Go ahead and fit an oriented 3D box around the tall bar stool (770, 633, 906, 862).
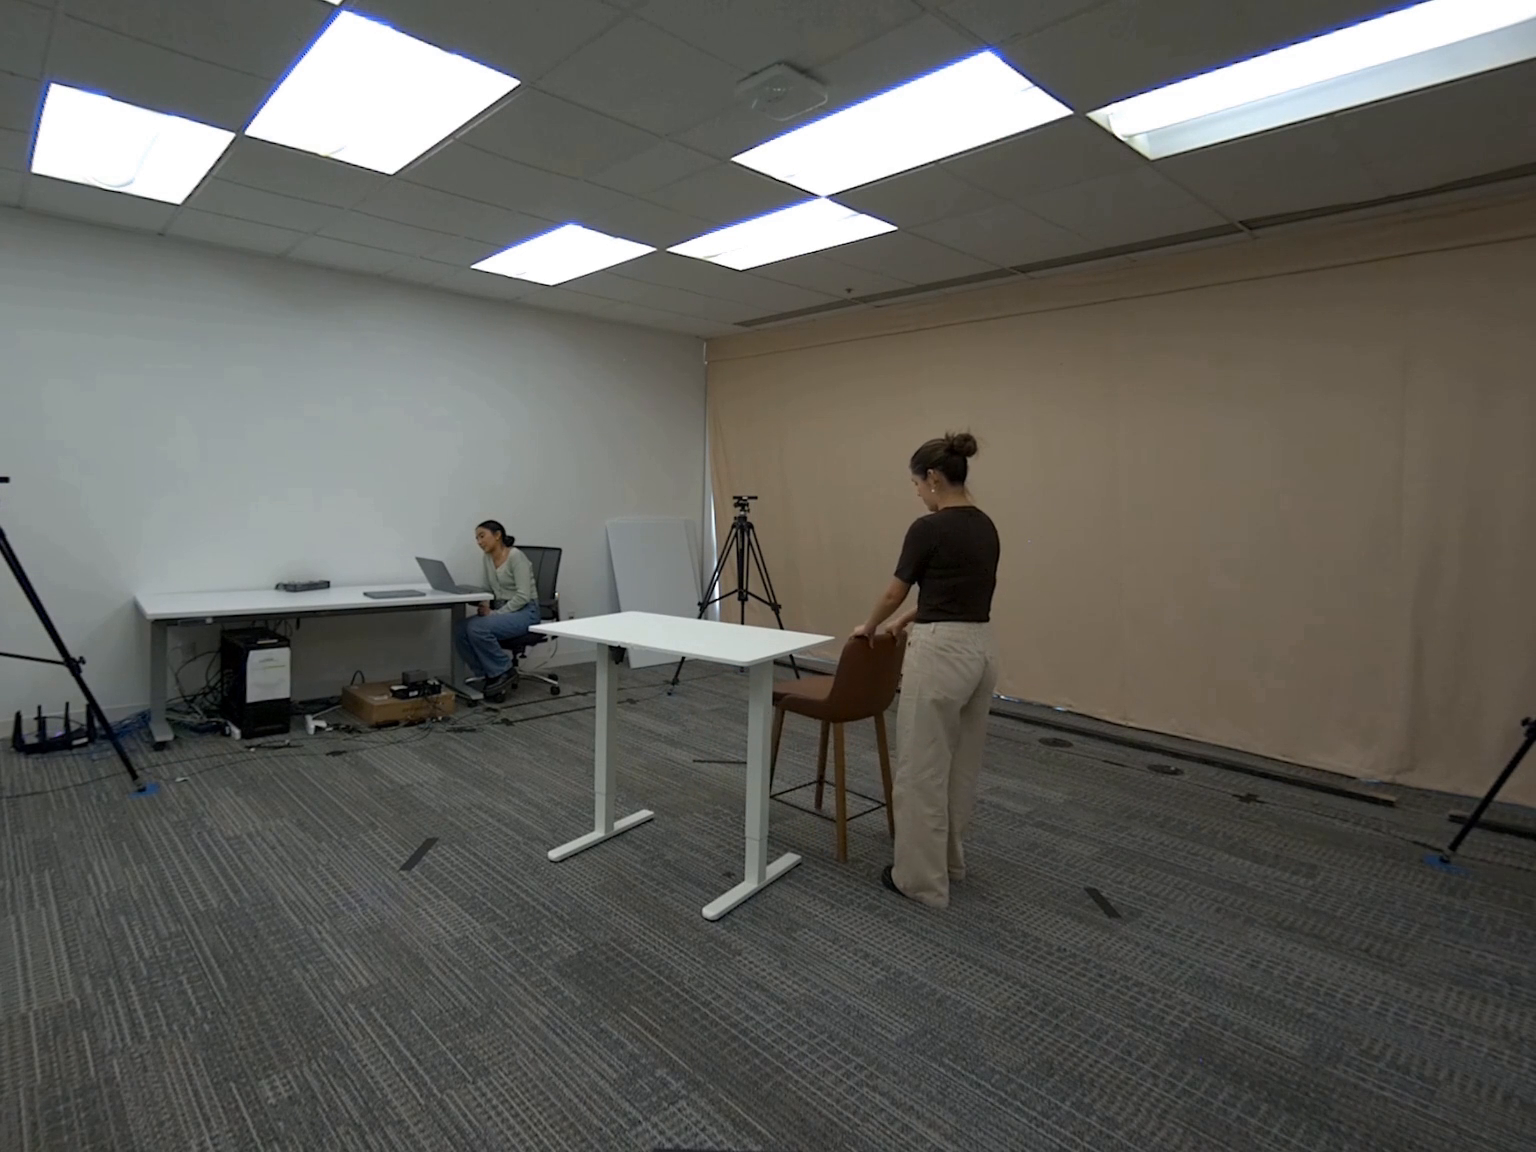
[{"bbox_3d":[0.272,0.643,3.485,0.480,0.887,0.446,9,7,44],"label":"tall bar stool"}]
